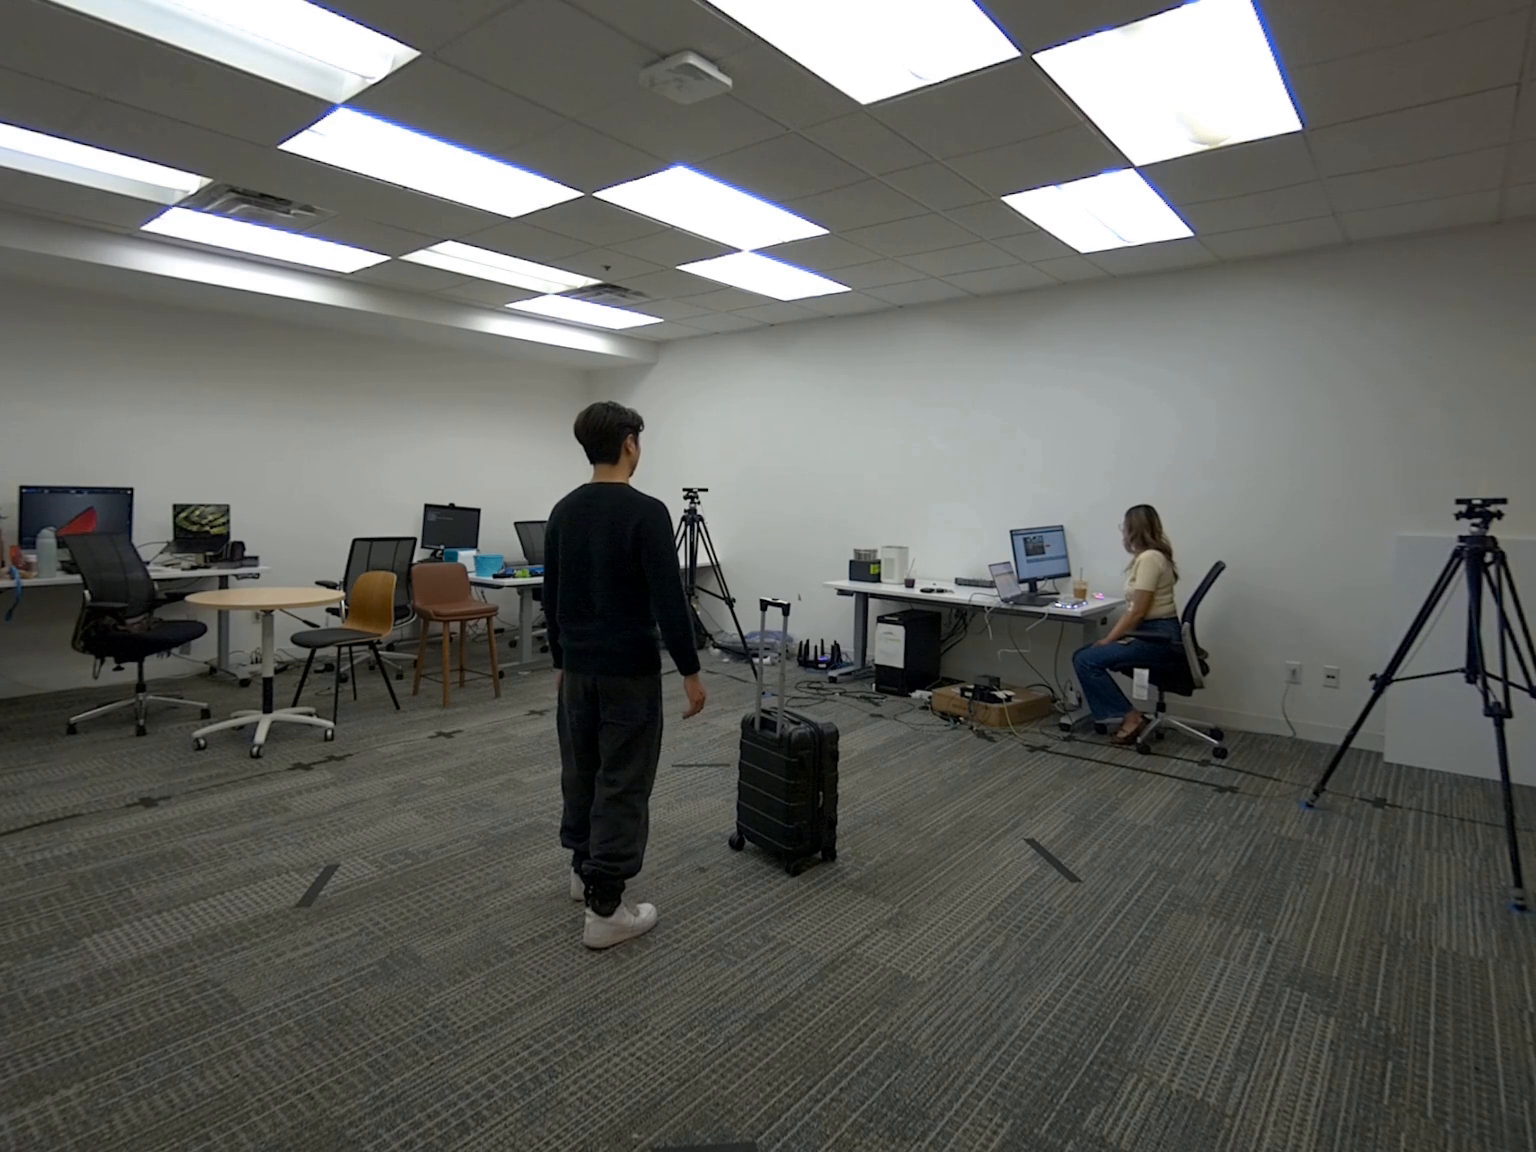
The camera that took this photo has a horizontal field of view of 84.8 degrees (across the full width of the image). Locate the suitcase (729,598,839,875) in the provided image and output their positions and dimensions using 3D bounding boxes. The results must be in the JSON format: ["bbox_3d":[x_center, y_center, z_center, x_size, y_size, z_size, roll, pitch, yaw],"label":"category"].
[{"bbox_3d":[0.076,0.584,3.236,0.249,0.977,0.397,2,3,-37],"label":"suitcase"}]
